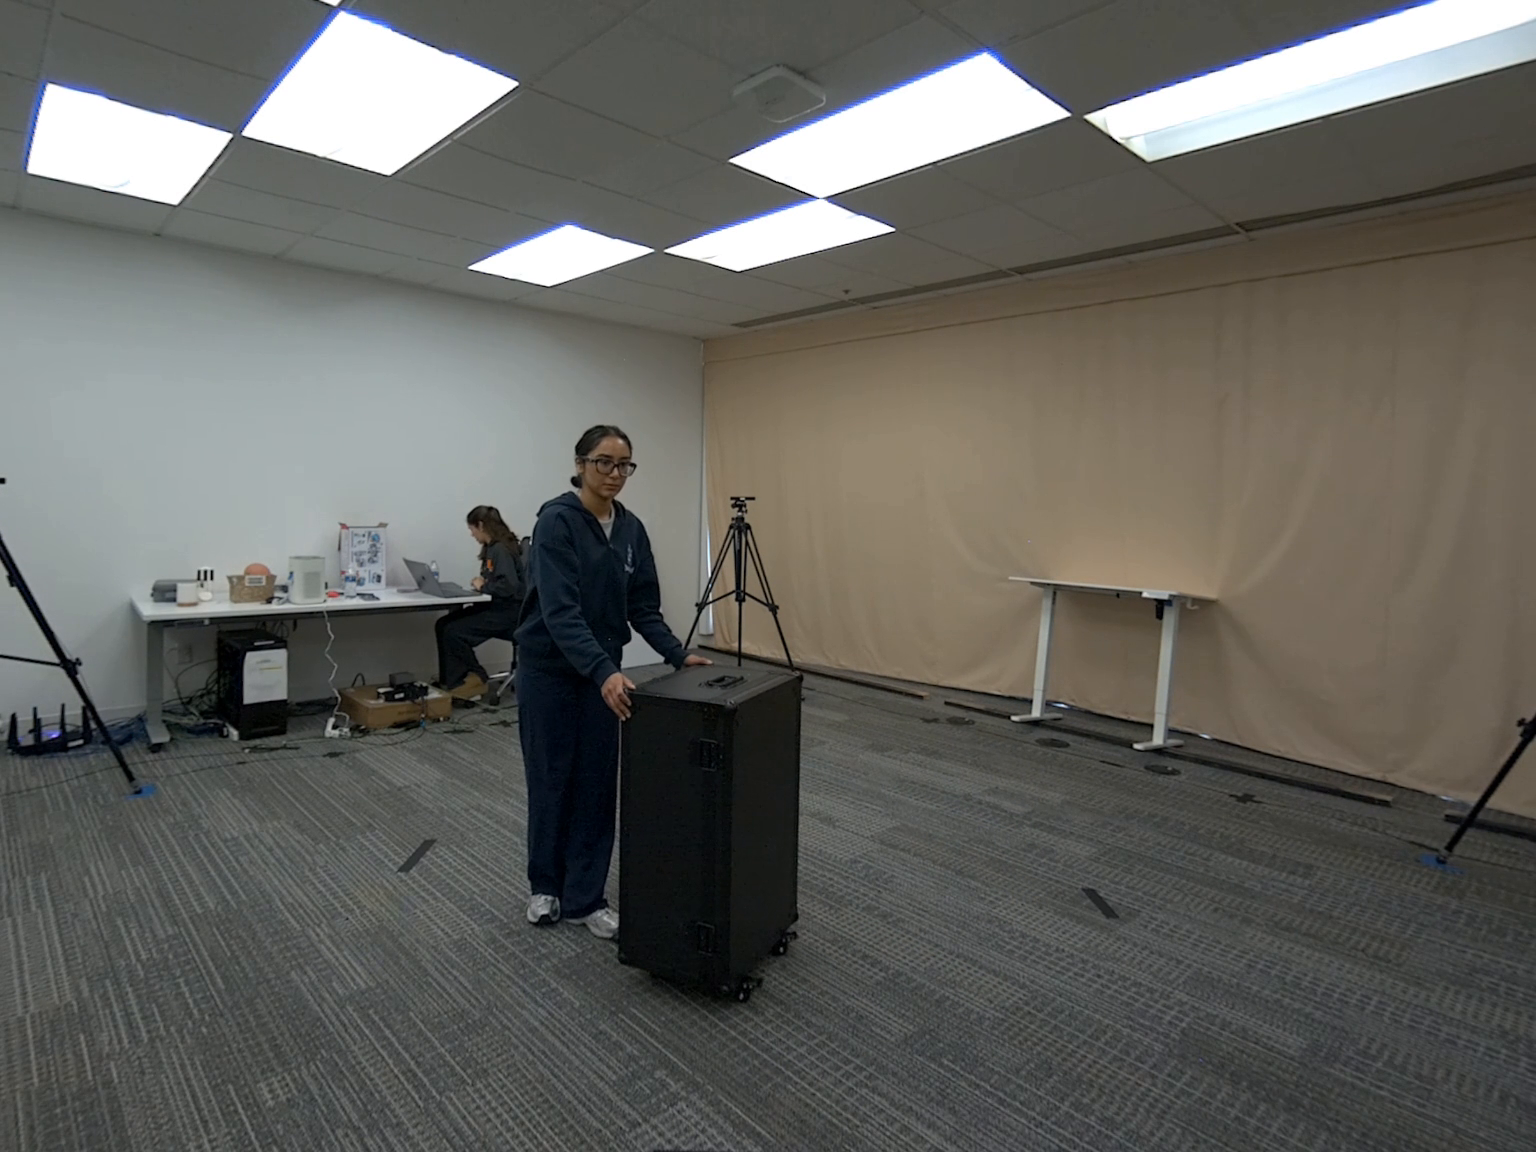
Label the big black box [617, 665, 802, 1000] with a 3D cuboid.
[{"bbox_3d":[-0.171,0.738,2.493,0.404,0.860,0.512,1,3,25],"label":"big black box"}]
